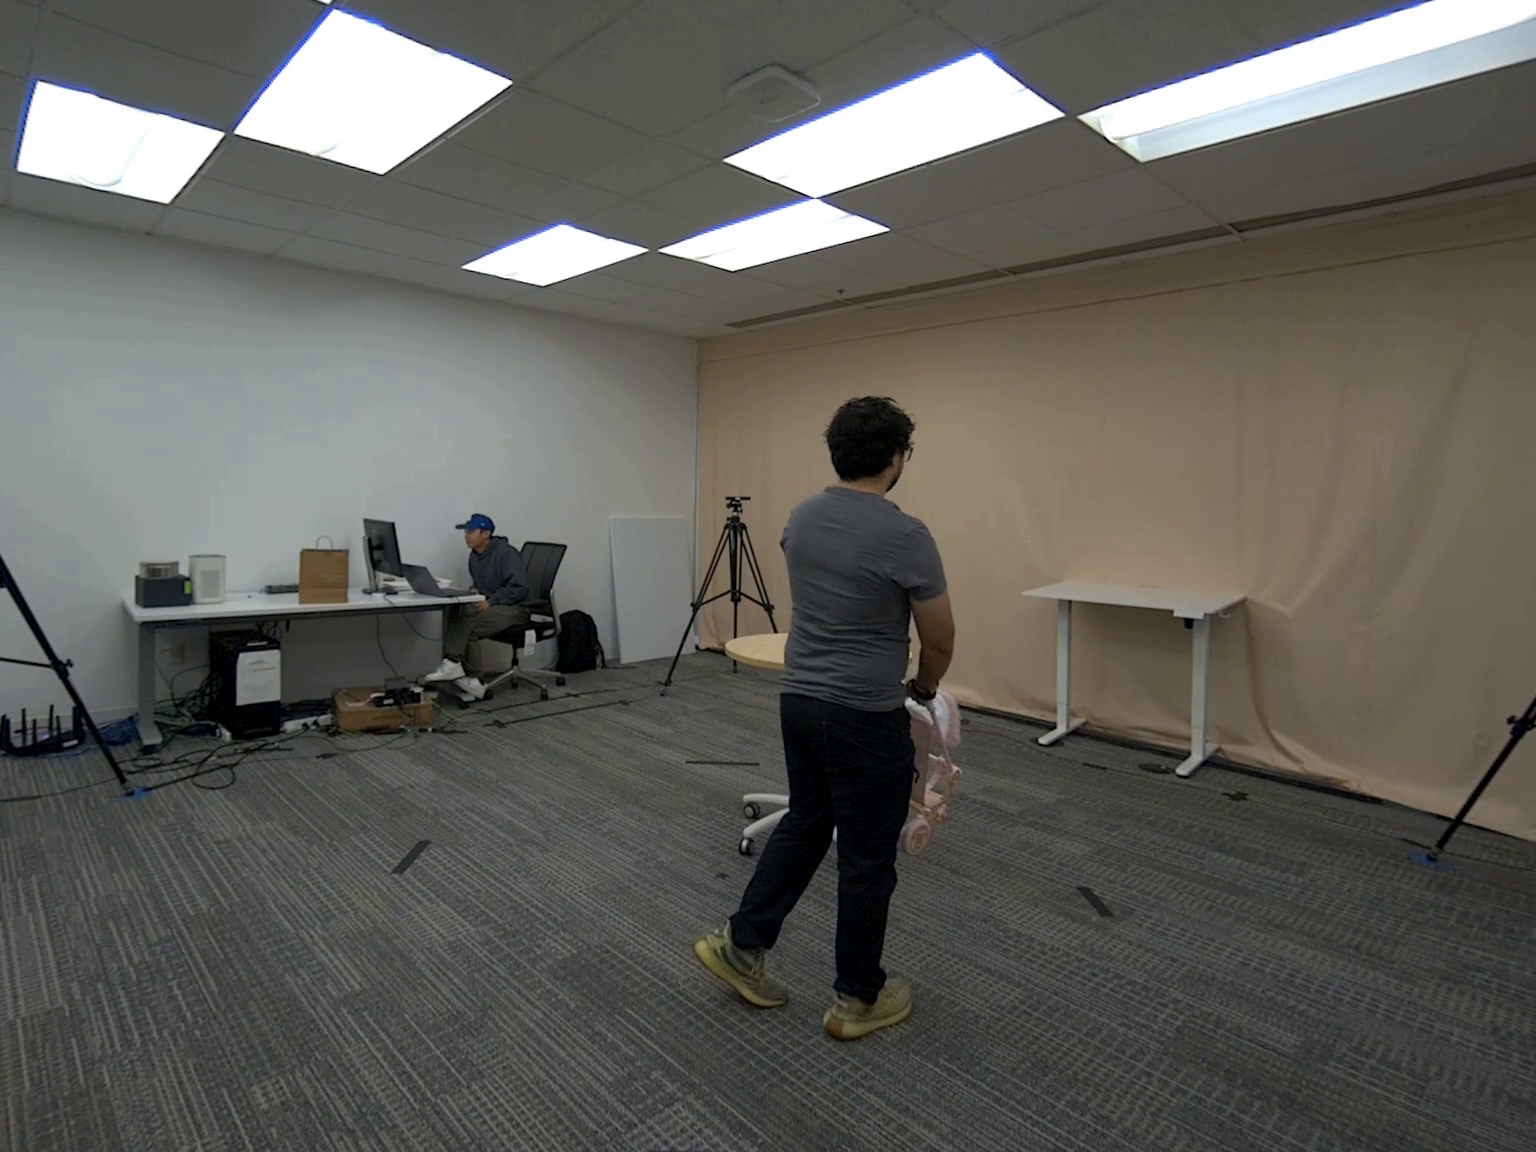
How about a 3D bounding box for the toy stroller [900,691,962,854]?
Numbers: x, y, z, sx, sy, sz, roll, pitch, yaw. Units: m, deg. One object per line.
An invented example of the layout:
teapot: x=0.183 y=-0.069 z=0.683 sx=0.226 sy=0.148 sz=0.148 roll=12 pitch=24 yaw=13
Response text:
toy stroller: x=0.435 y=0.577 z=2.552 sx=0.333 sy=0.533 sz=0.290 roll=5 pitch=9 yaw=-41
